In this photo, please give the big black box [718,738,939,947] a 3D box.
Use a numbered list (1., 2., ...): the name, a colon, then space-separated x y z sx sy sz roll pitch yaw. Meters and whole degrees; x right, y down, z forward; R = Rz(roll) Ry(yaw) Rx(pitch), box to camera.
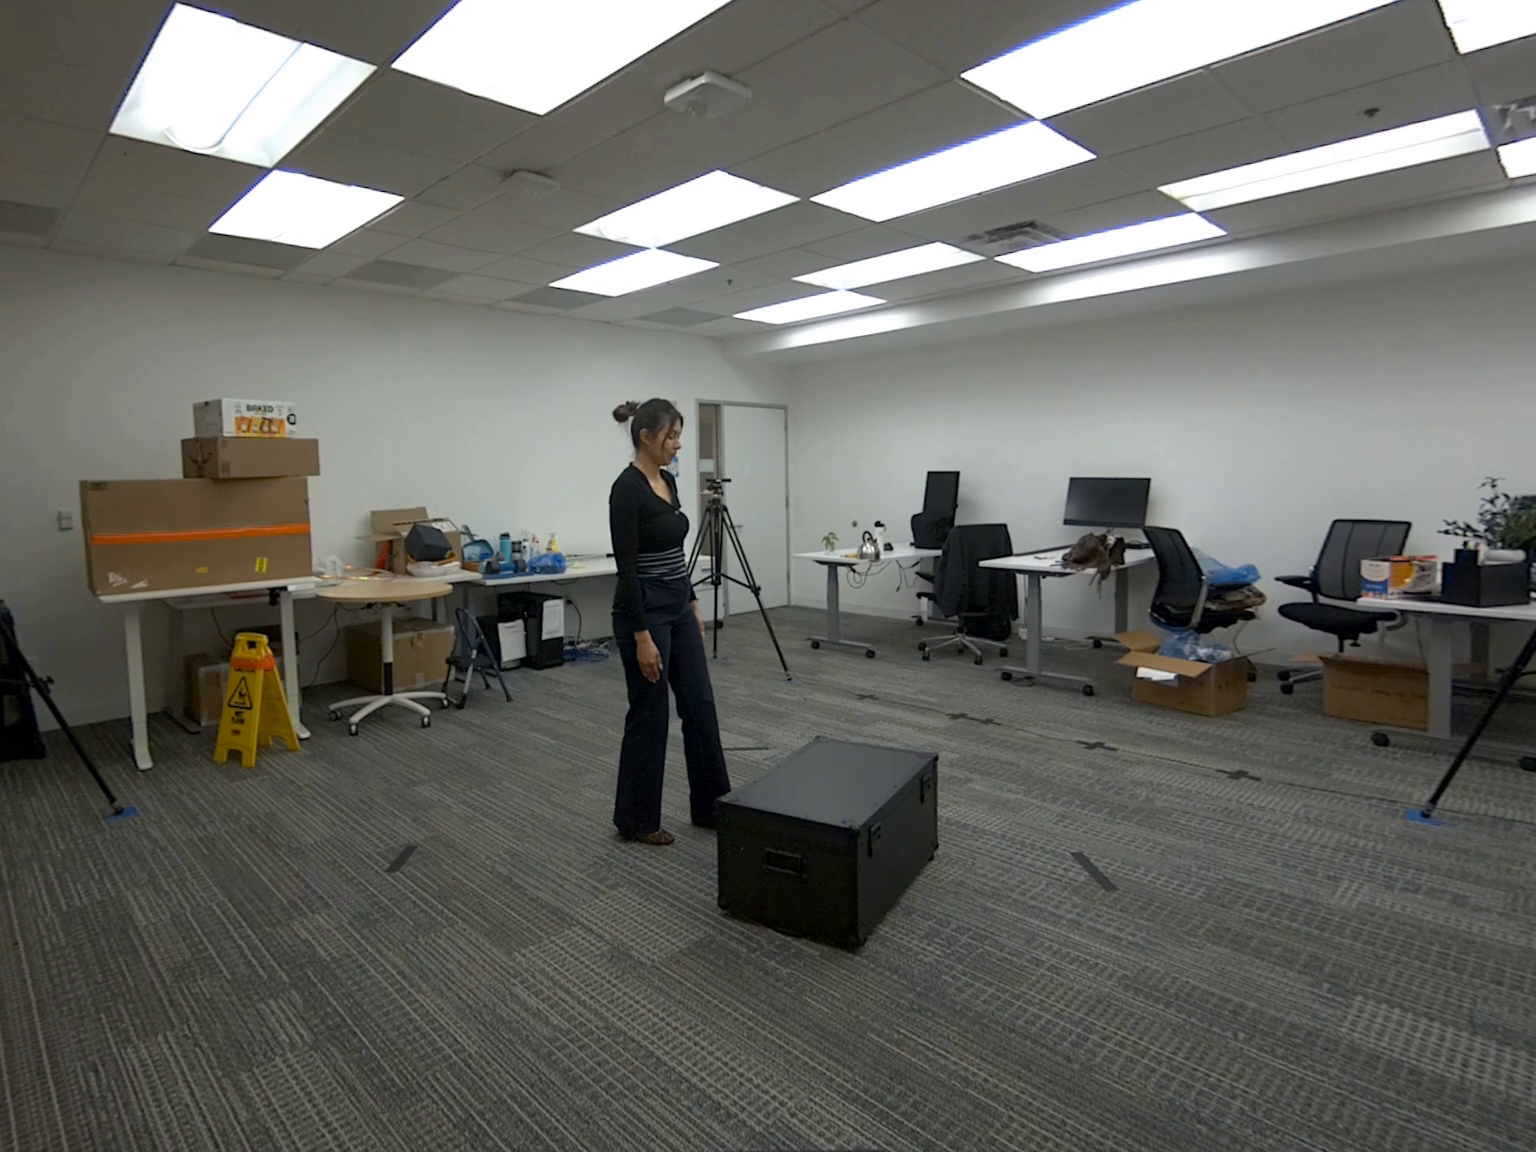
1. big black box: 0.250 0.865 2.955 0.535 0.394 0.843 1 6 29
